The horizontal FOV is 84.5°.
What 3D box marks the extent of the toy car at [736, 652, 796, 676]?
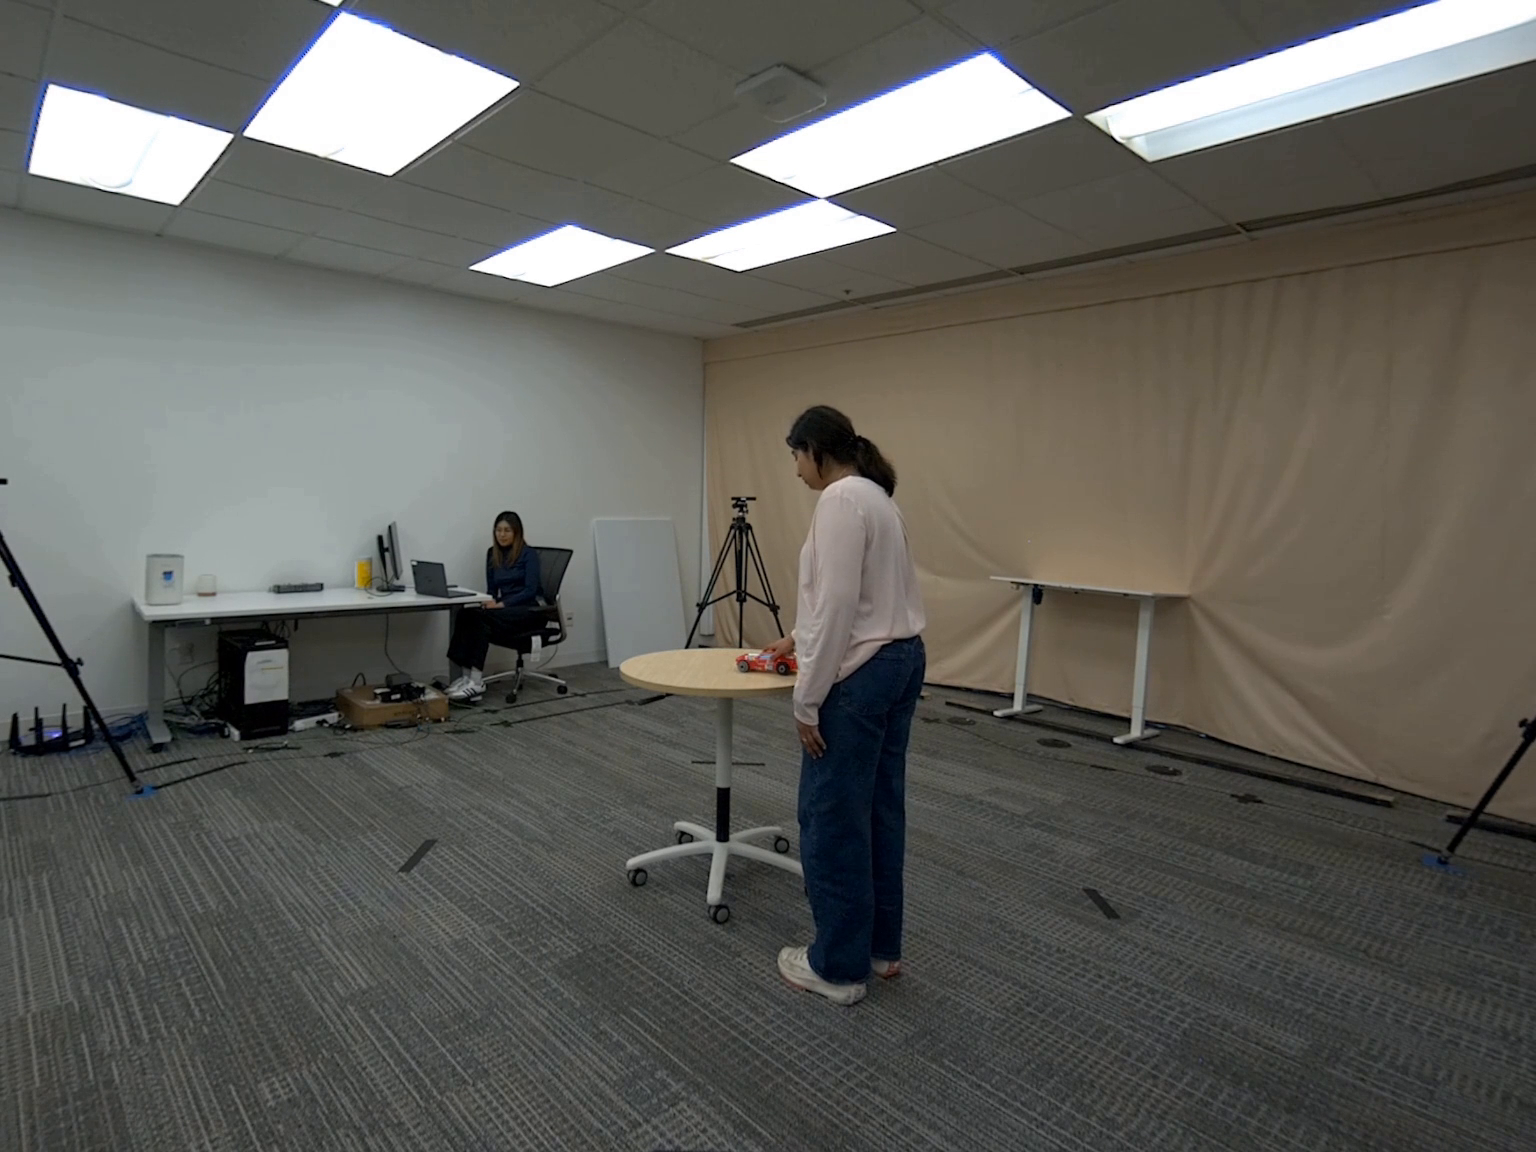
[{"bbox_3d":[0.004,0.307,2.961,0.257,0.083,0.129,-8,2,15],"label":"toy car"}]
